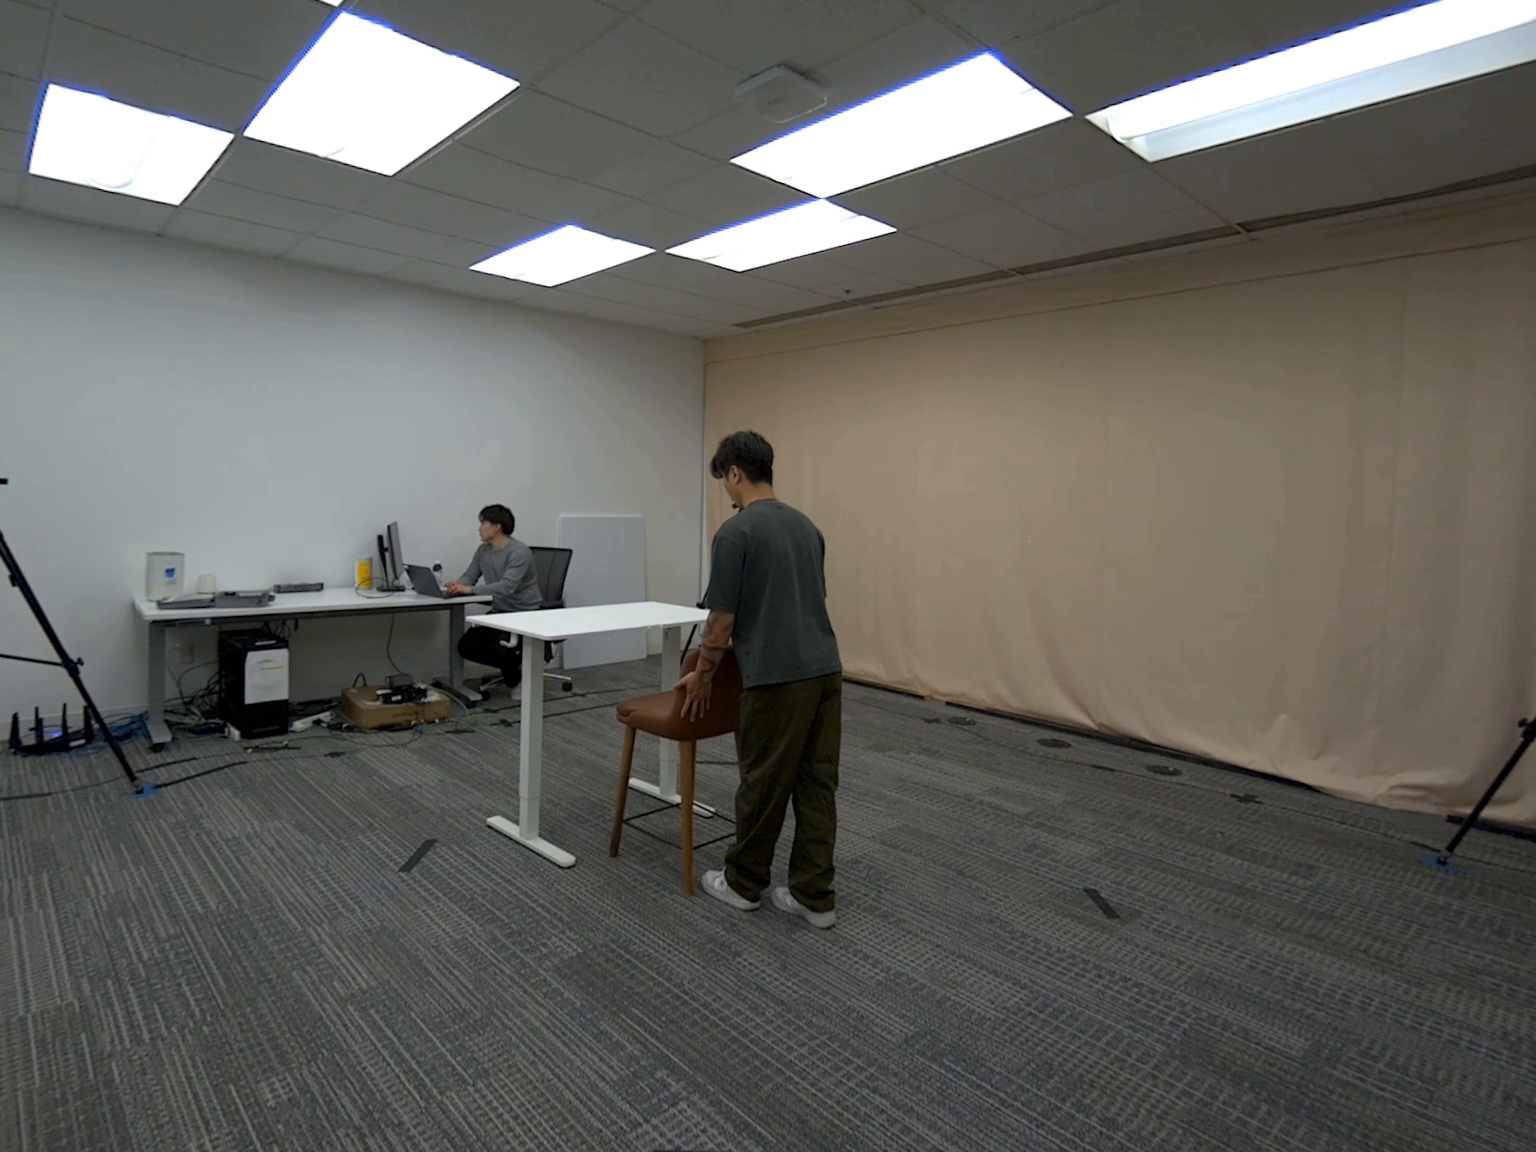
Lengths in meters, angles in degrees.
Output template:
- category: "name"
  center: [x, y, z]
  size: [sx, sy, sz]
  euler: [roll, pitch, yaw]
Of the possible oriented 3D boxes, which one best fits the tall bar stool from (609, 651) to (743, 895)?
- category: "tall bar stool"
  center: [-0.303, 0.656, 3.200]
  size: [0.480, 0.887, 0.446]
  euler: [7, 6, 43]
